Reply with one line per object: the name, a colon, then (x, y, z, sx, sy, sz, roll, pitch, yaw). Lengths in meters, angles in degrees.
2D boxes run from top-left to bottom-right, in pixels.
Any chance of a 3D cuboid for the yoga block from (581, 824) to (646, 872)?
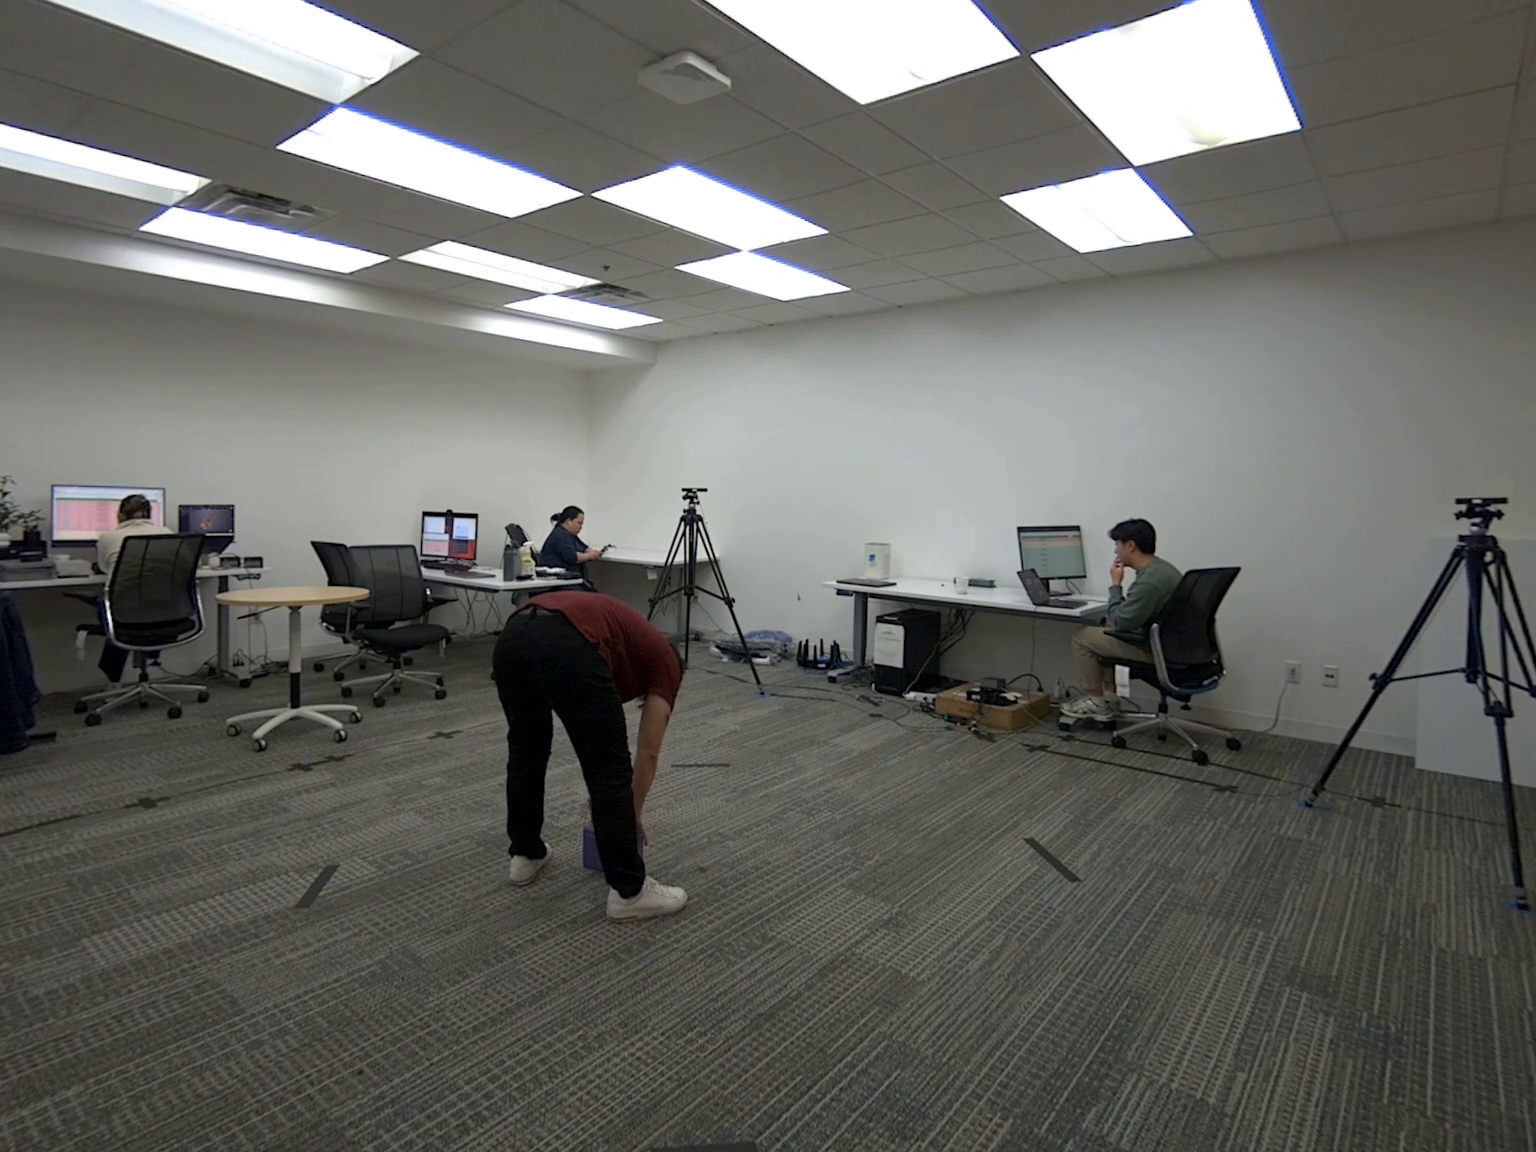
yoga block: (-0.580, 0.992, 3.080, 0.236, 0.148, 0.075, 4, 7, 28)
